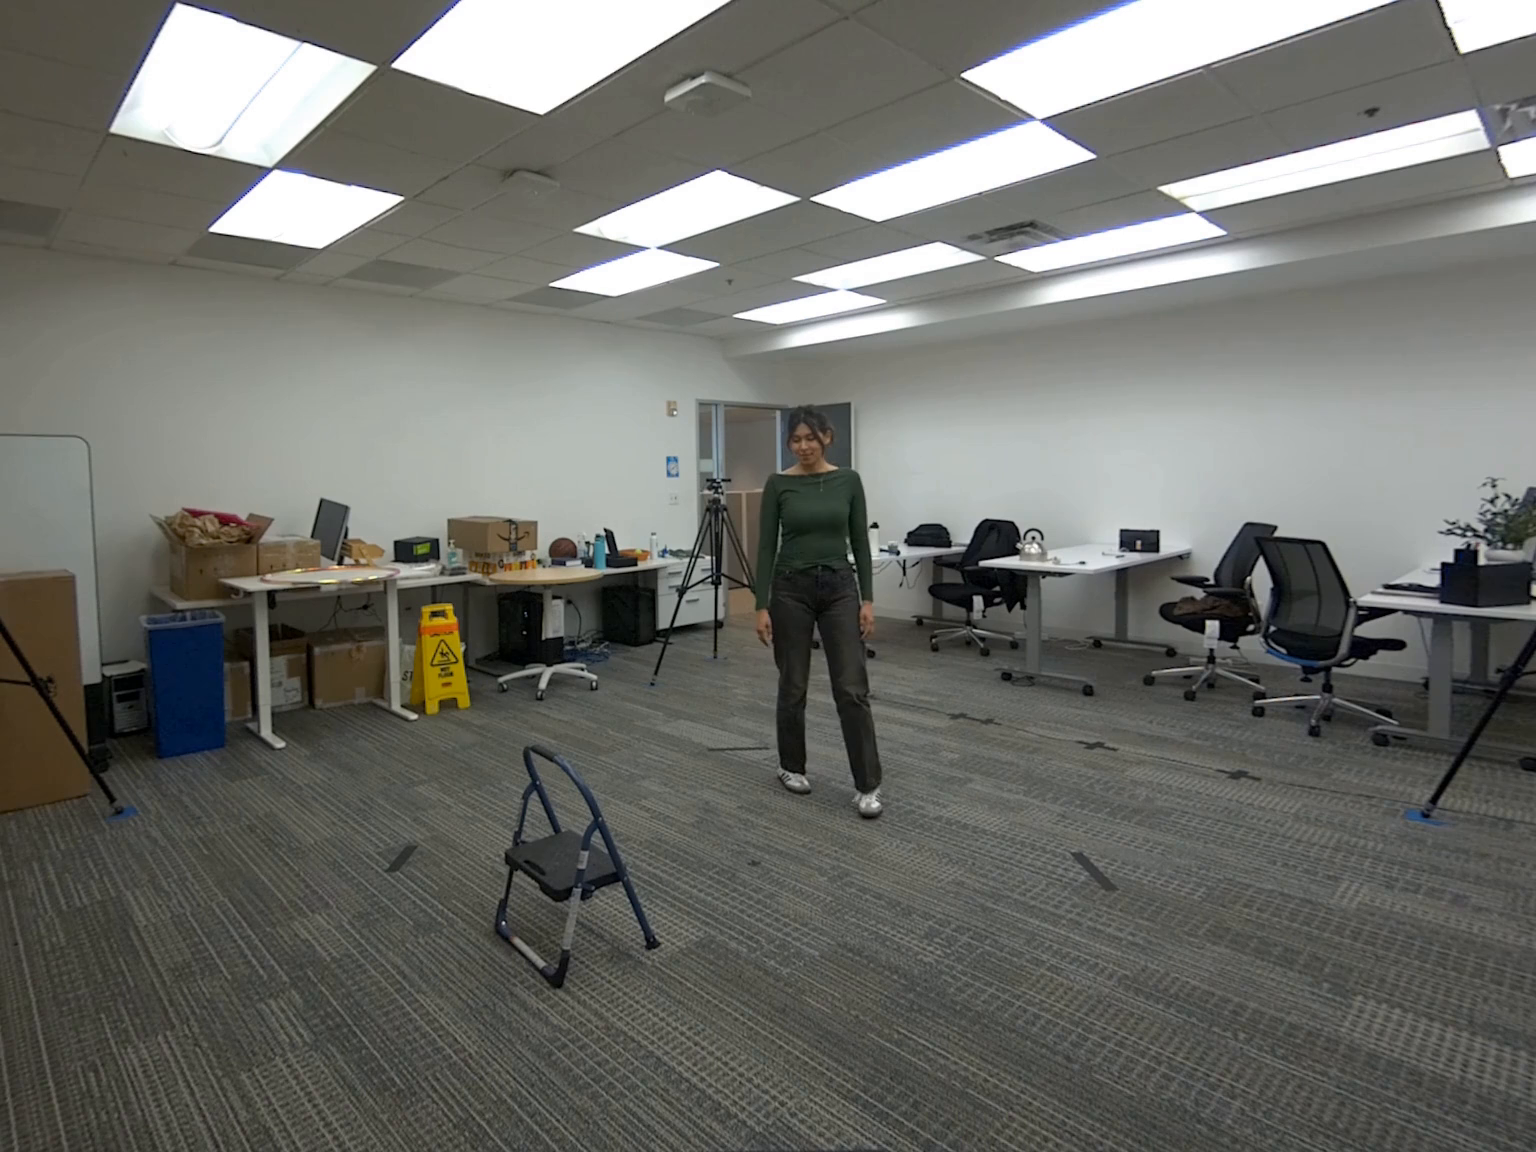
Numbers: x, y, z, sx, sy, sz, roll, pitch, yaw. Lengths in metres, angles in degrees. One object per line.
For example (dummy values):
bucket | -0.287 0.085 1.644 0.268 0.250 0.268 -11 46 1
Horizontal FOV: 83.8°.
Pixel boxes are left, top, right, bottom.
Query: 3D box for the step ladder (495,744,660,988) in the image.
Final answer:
step ladder | -0.597 0.811 2.607 0.340 0.604 0.444 -5 6 -41
